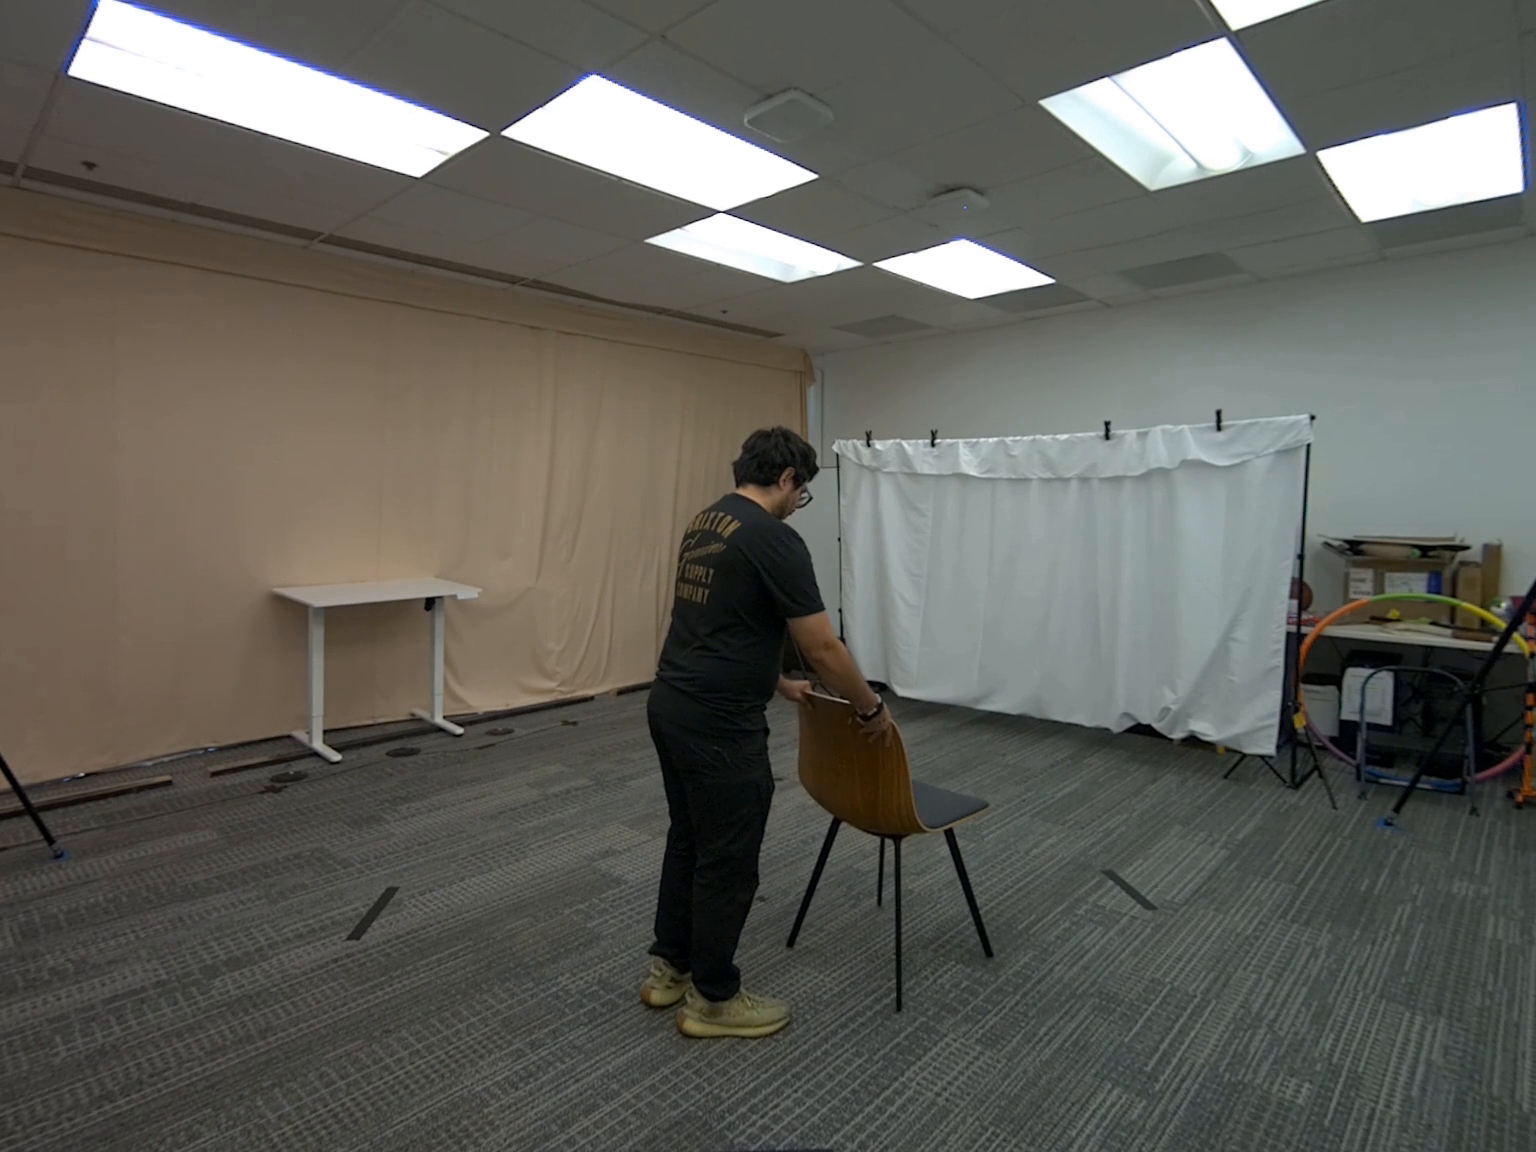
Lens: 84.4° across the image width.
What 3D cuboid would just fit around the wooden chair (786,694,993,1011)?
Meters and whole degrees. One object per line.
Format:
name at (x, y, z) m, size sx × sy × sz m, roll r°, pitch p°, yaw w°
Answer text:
wooden chair at (0.381, 0.745, 2.601) m, size 0.508 × 0.874 × 0.494 m, roll -9°, pitch 8°, yaw -41°
